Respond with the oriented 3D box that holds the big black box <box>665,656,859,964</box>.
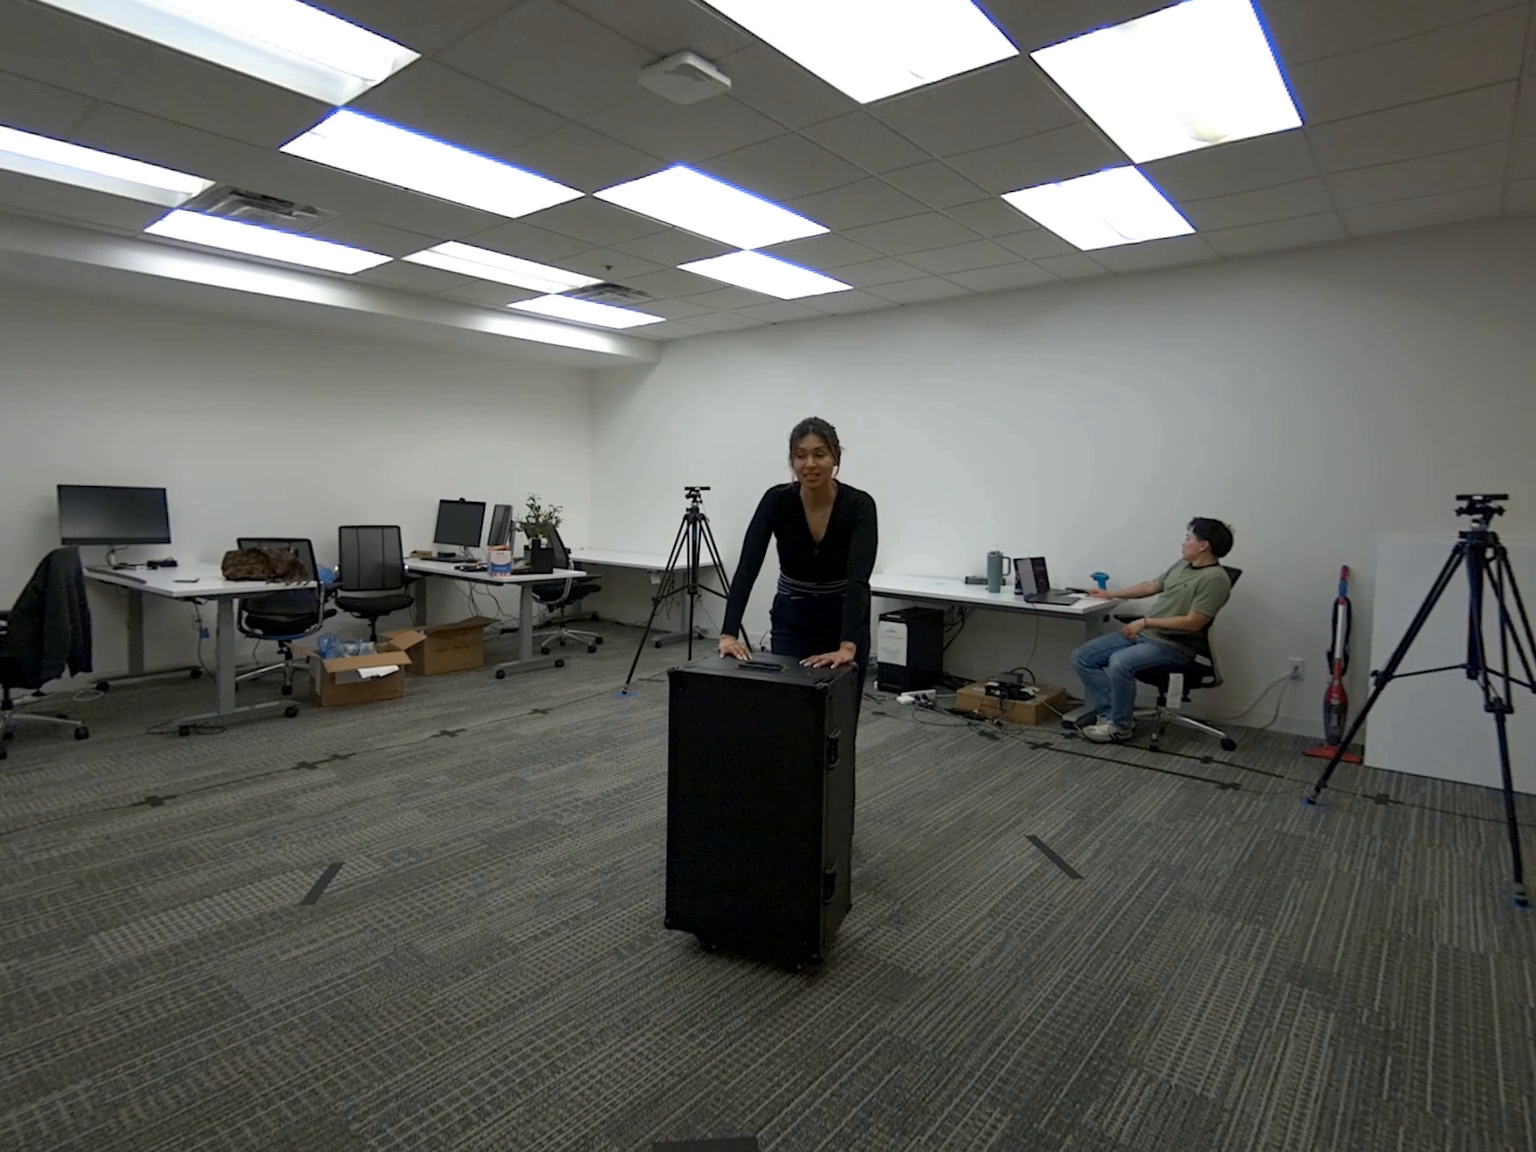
[{"bbox_3d":[-0.029,0.694,2.596,0.534,0.860,0.388,2,2,22],"label":"big black box"}]
